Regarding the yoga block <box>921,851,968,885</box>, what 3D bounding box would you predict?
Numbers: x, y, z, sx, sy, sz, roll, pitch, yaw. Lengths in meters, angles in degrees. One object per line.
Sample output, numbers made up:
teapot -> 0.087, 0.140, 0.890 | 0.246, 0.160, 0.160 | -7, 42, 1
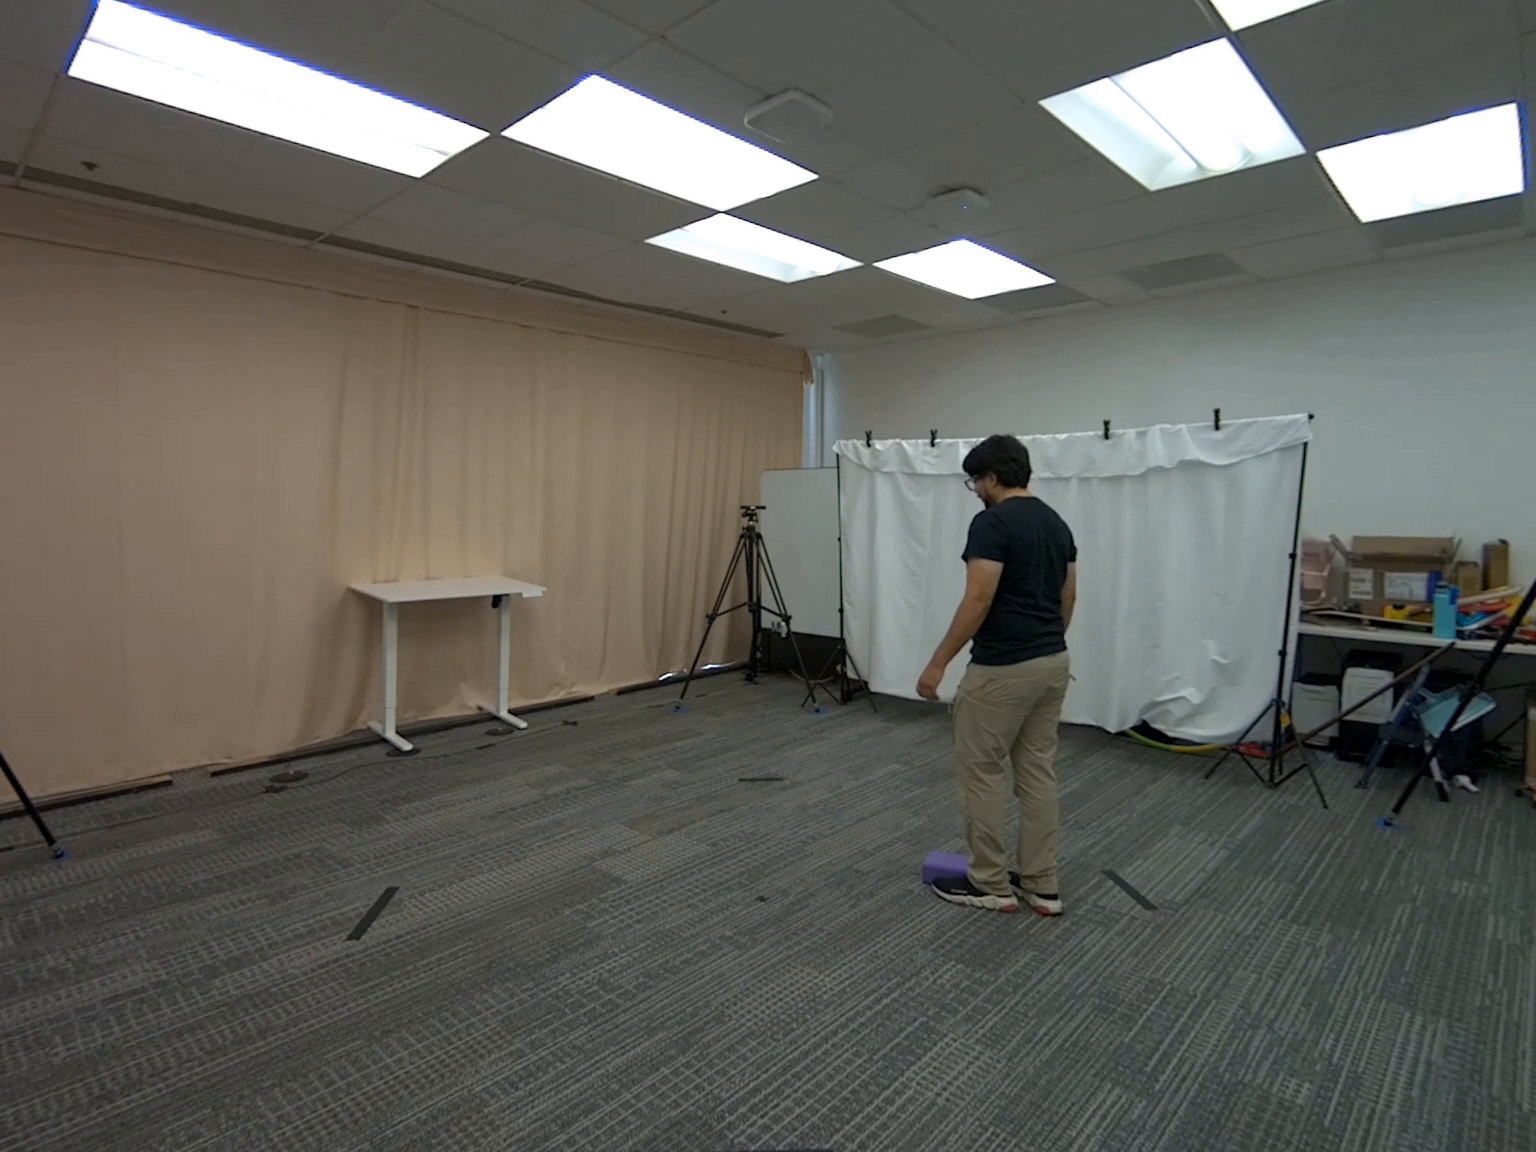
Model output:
yoga block -> 0.707, 1.089, 3.113 | 0.235, 0.076, 0.146 | 0, 4, 24
